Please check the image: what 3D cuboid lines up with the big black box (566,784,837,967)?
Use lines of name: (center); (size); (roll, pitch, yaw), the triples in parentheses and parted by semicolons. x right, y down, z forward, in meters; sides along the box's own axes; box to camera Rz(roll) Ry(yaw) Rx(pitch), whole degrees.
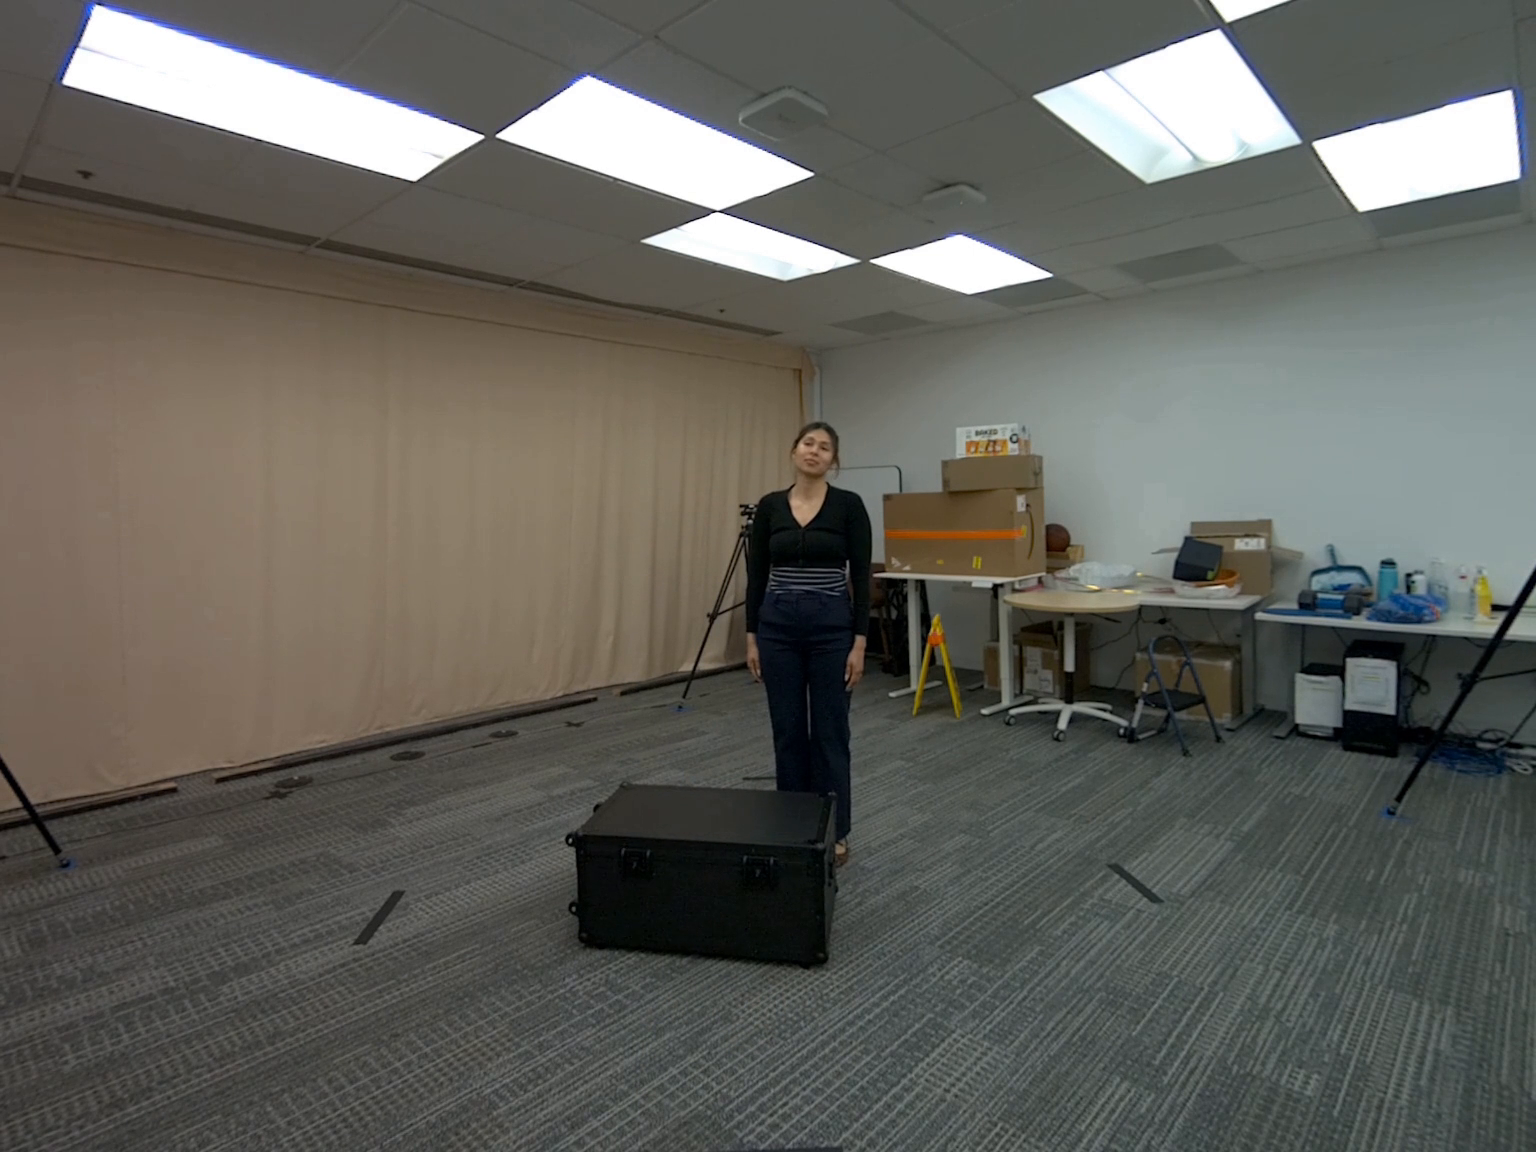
big black box: (-0.217, 0.965, 2.812); (0.873, 0.395, 0.516); (1, 4, 11)
